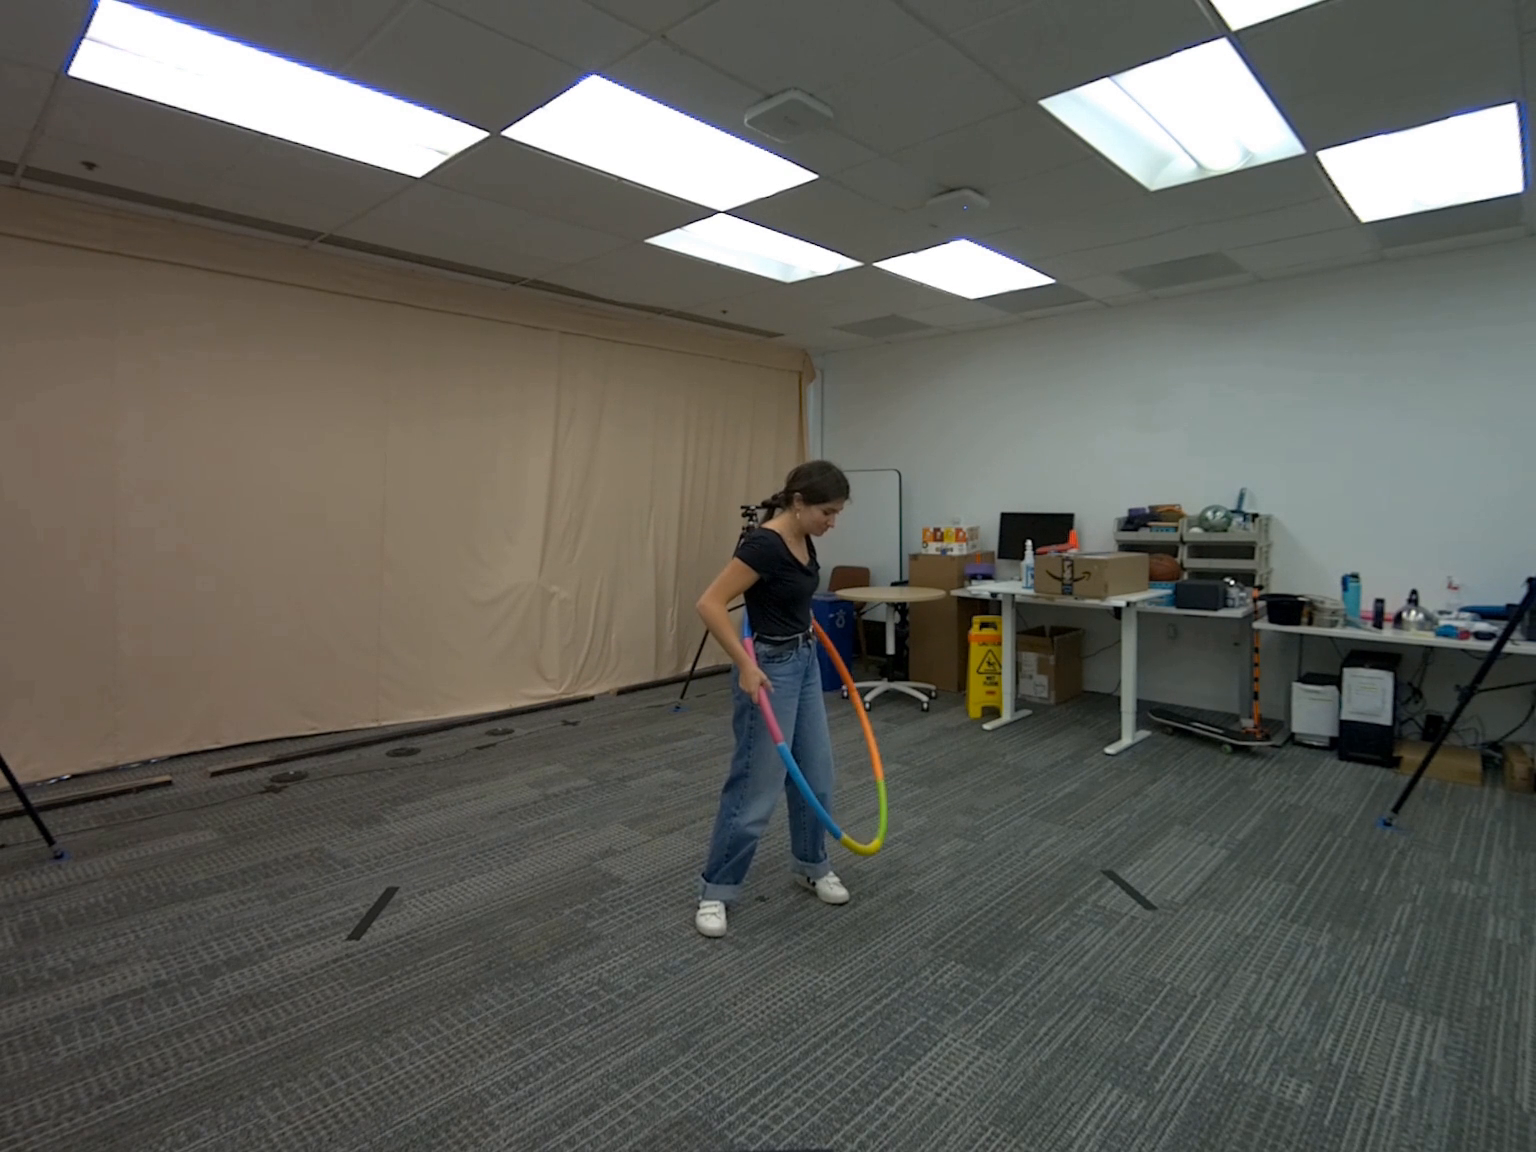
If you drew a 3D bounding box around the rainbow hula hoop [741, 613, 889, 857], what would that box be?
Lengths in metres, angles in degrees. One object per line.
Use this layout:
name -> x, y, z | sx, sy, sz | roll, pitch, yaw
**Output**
rainbow hula hoop -> 0.201, 0.492, 3.024 | 0.036, 0.986, 0.959 | -28, -6, 19
